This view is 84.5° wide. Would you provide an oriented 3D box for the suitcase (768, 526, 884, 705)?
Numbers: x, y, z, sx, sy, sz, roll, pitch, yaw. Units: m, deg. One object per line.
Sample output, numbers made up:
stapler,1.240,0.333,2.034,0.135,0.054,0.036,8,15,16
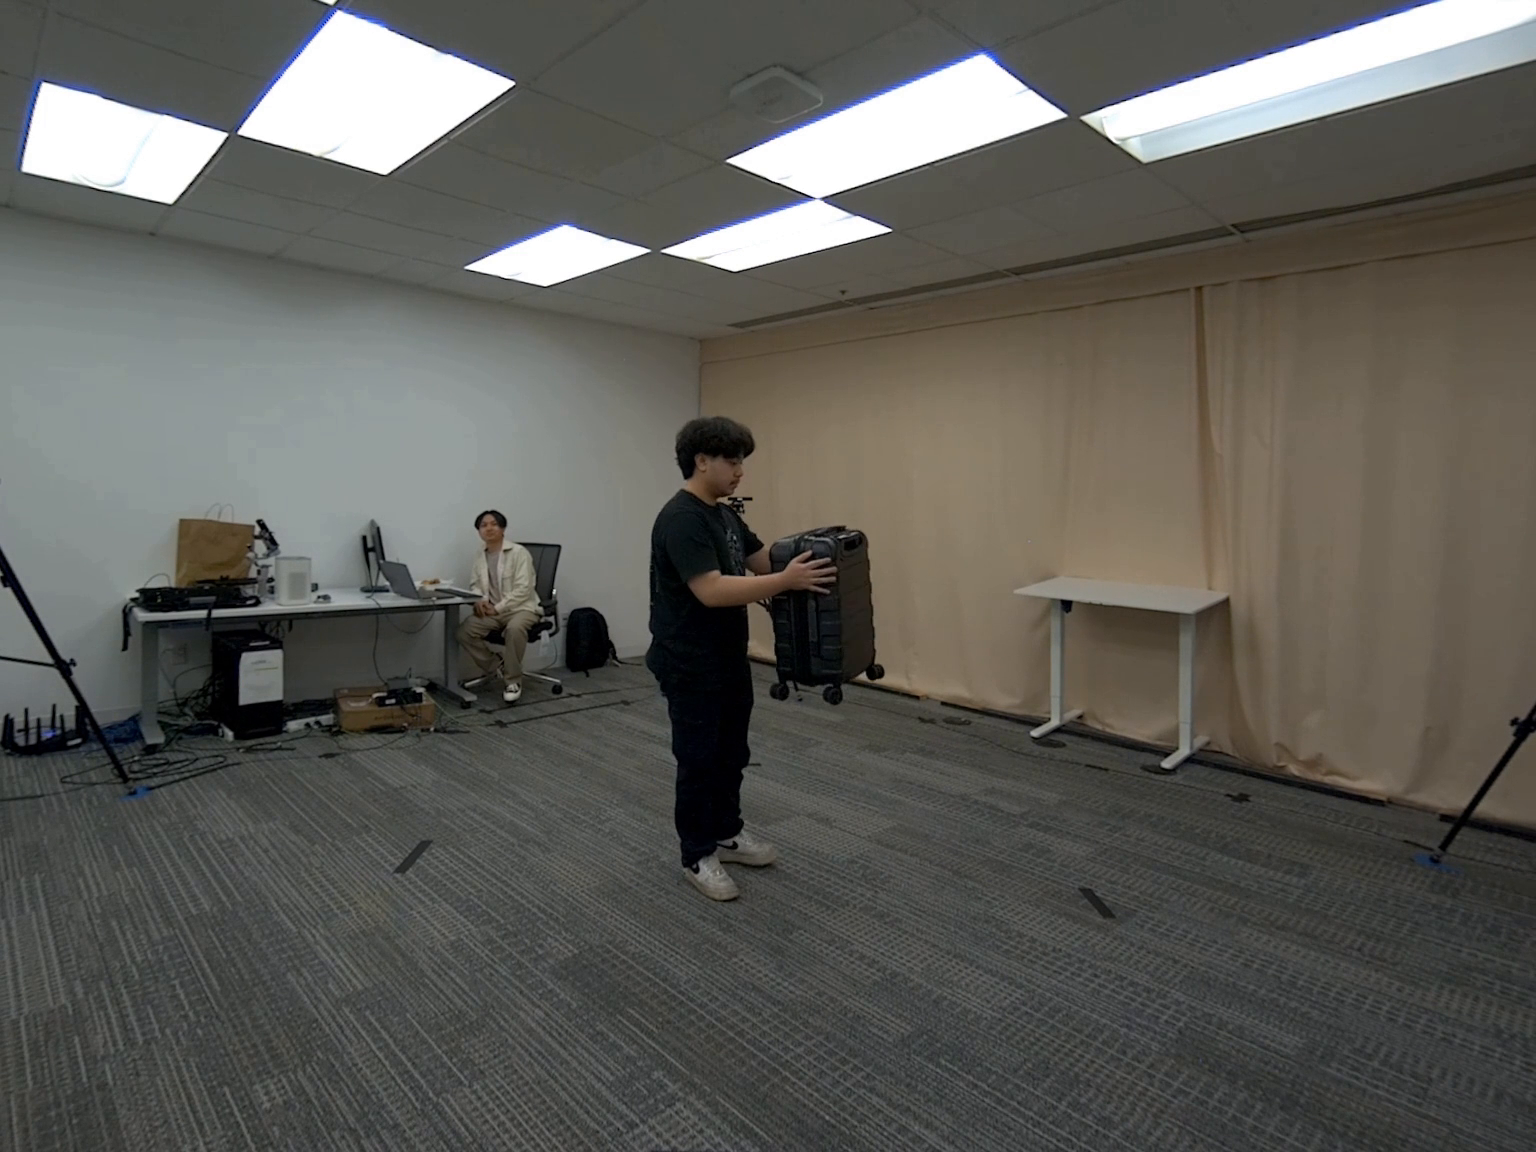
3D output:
suitcase,0.178,0.113,2.866,0.253,0.546,0.370,0,9,31
